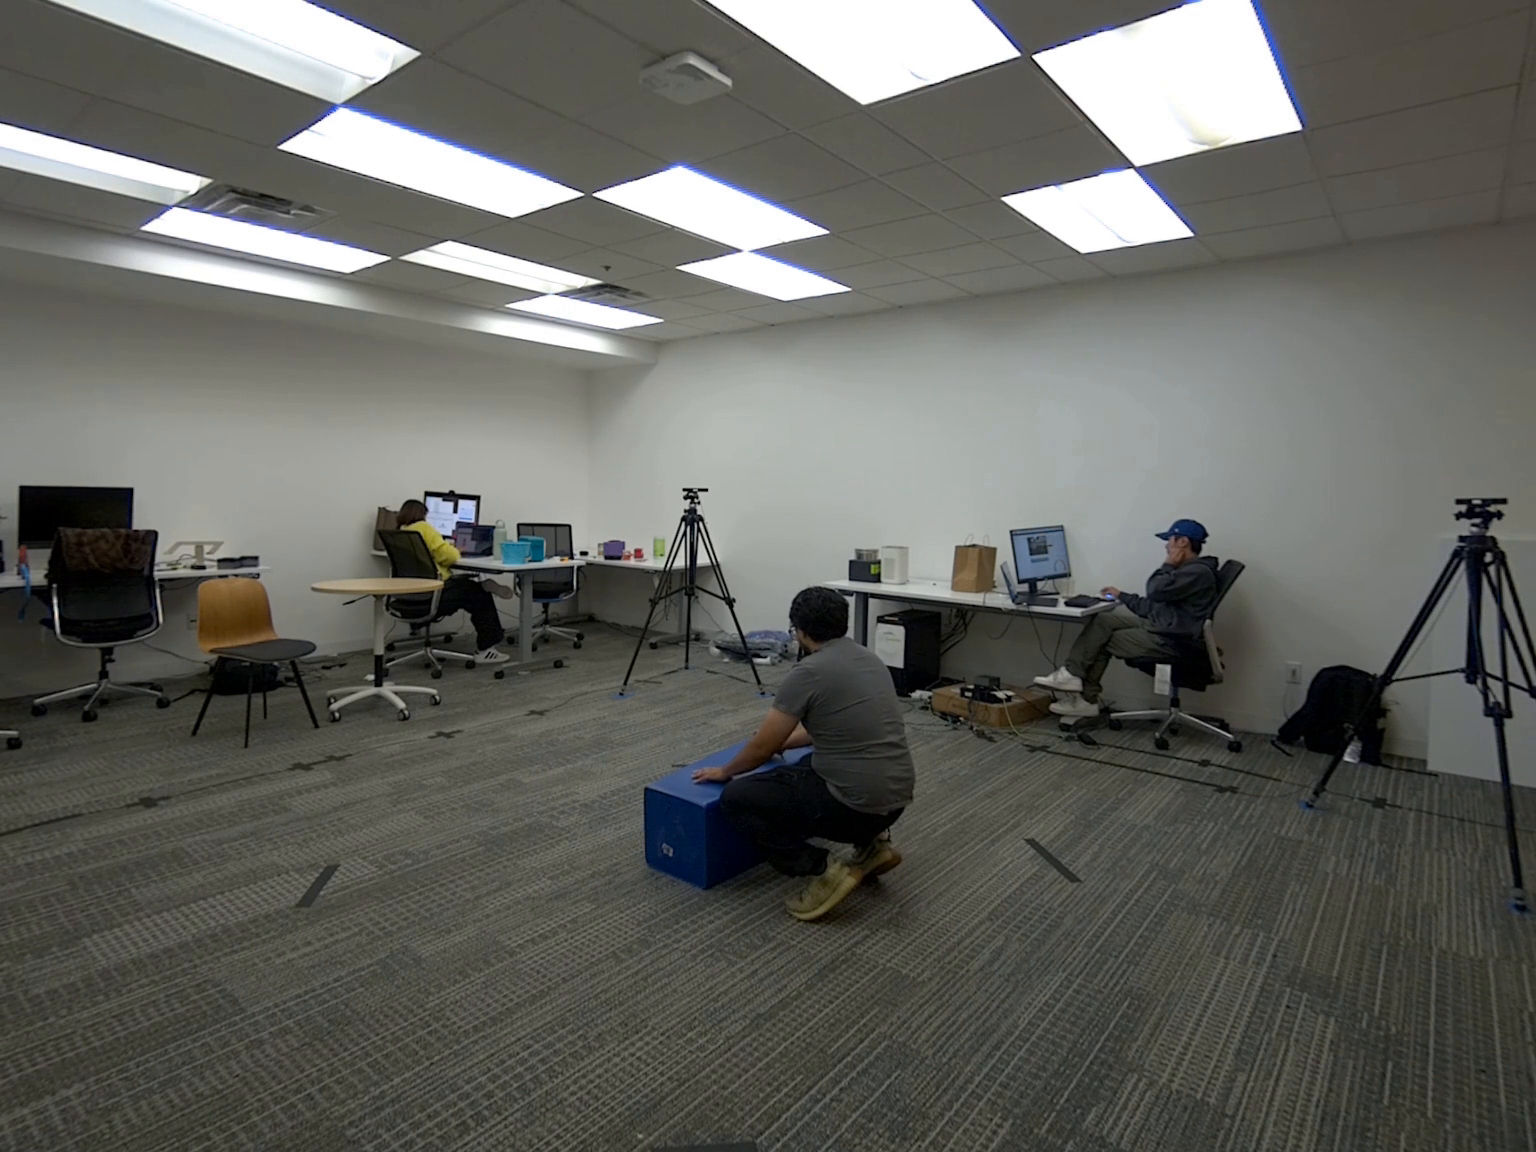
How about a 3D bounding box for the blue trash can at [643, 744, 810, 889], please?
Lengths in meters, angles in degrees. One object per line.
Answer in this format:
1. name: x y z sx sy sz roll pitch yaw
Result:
1. blue trash can: -0.136 0.881 3.293 0.387 0.376 0.694 5 8 39
